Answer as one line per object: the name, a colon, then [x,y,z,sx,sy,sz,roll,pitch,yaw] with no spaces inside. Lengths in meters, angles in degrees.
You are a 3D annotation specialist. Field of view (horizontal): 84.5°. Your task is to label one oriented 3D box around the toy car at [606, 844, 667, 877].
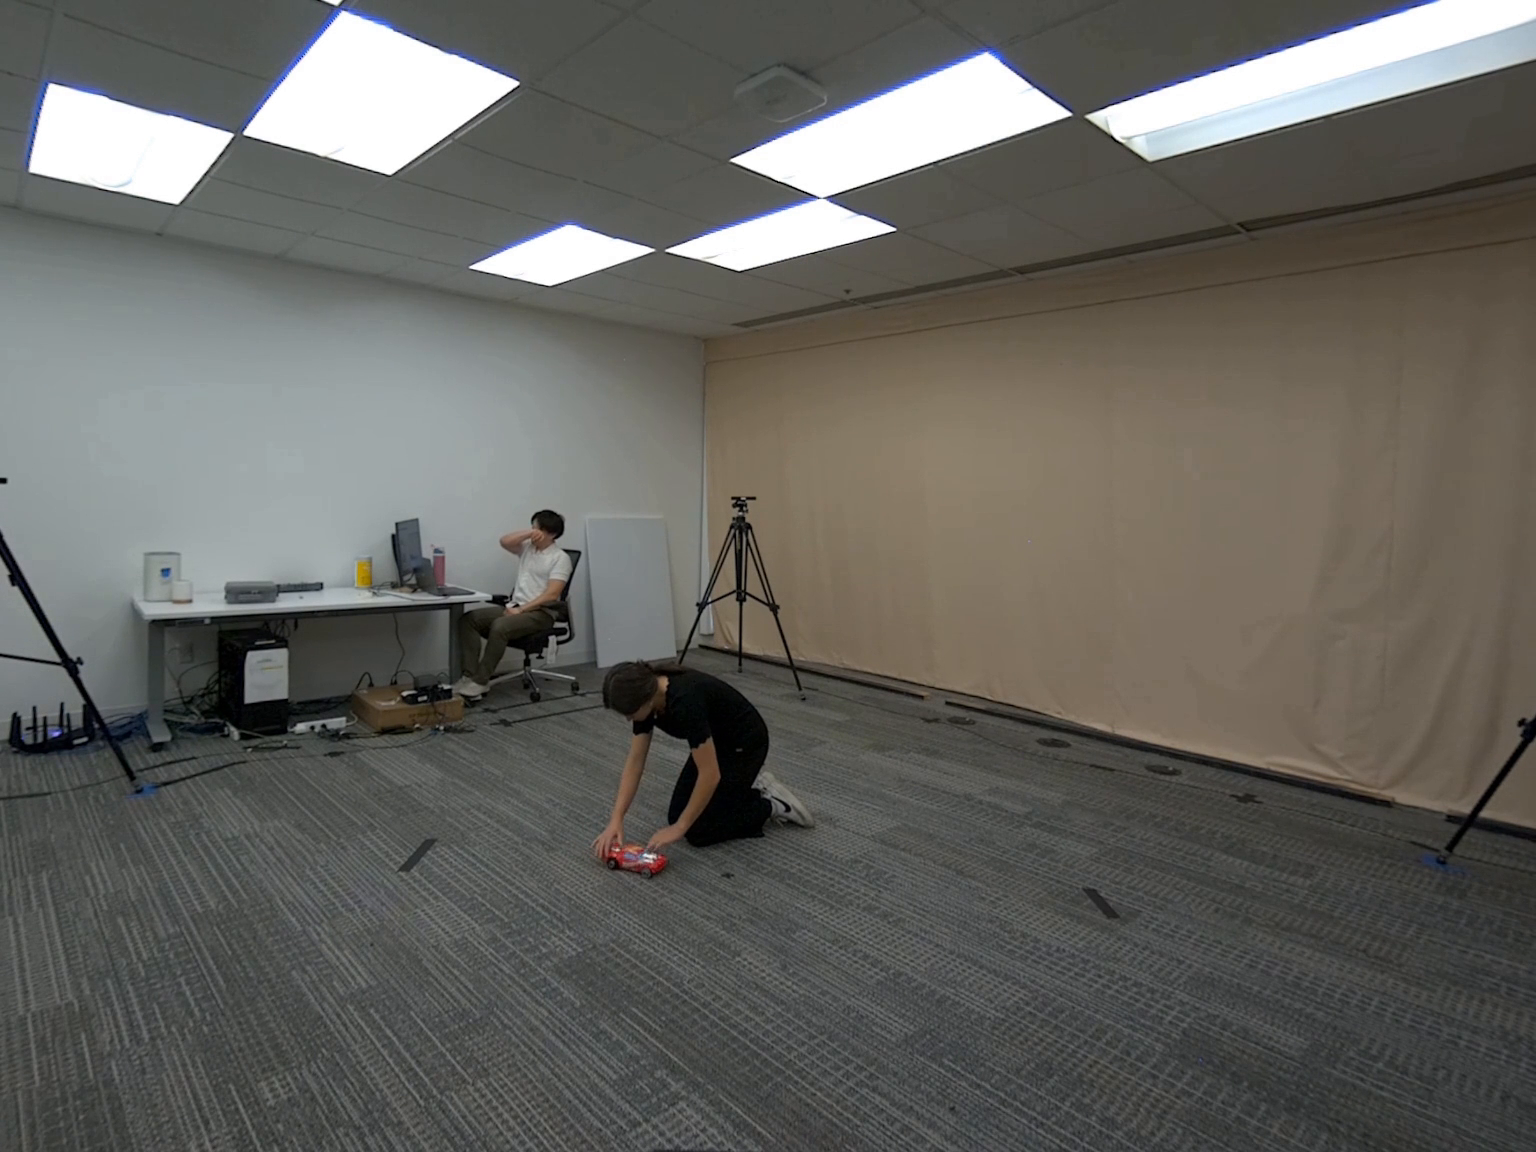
toy car: [-0.523,1.061,3.161,0.260,0.083,0.128,15,10,26]
